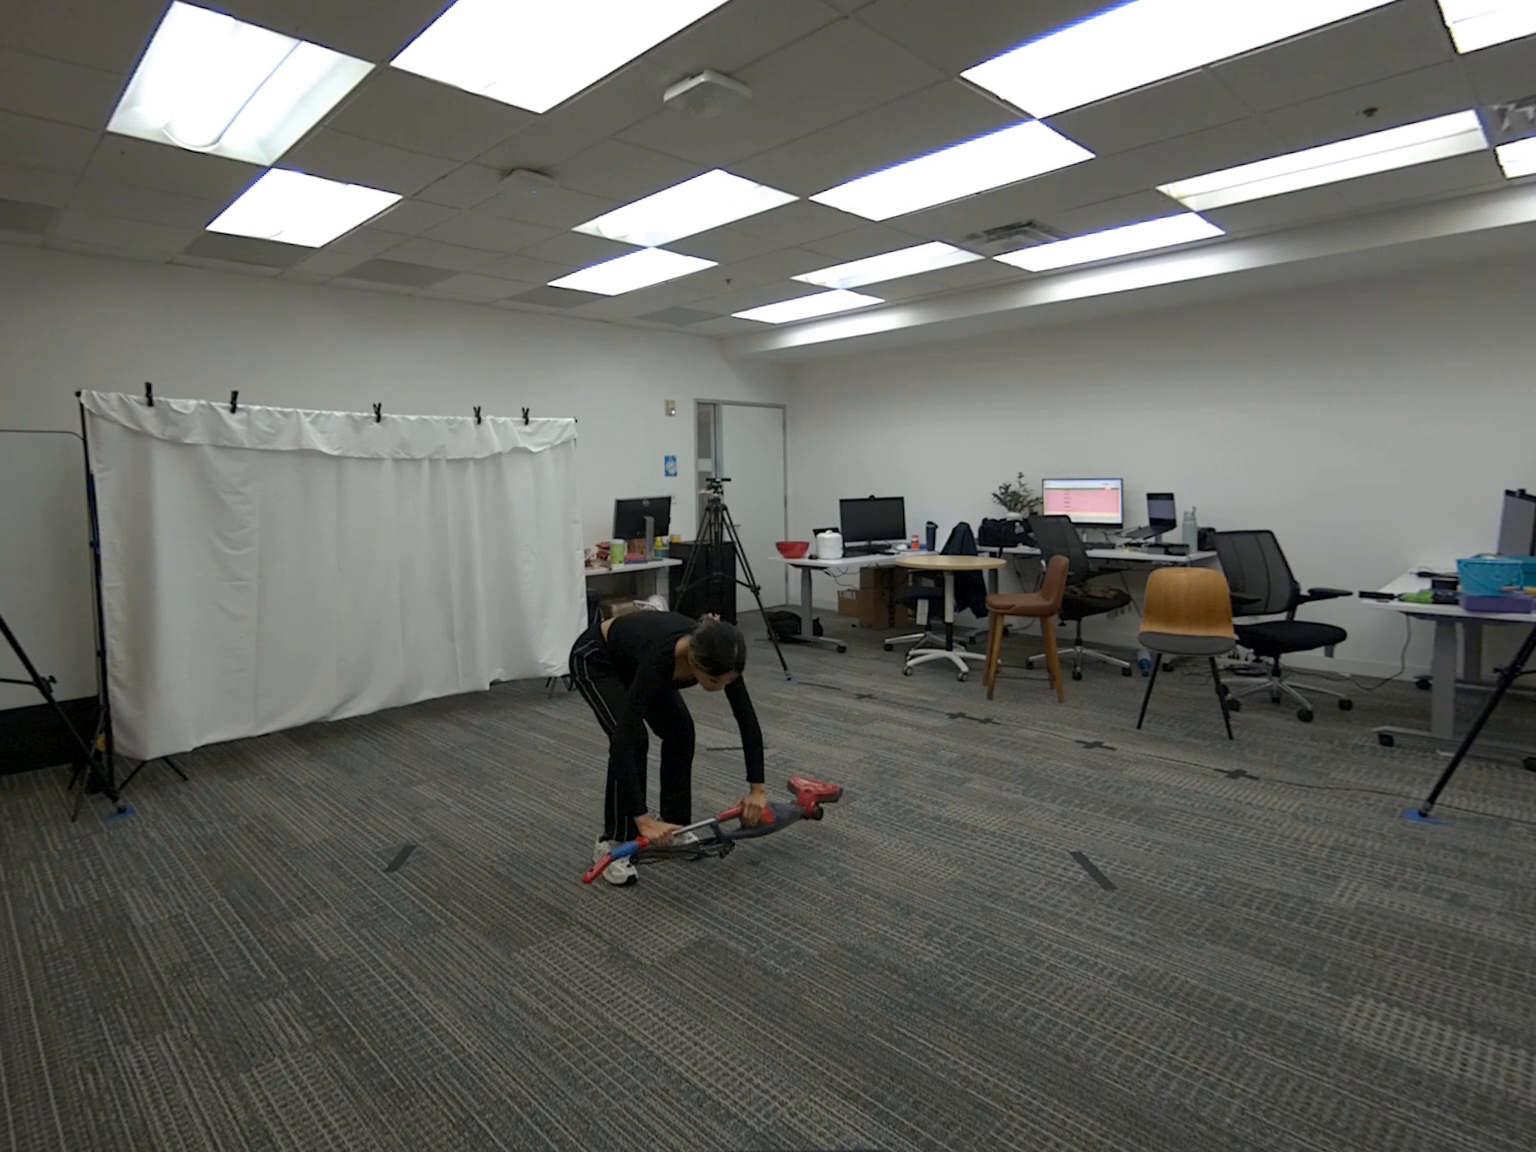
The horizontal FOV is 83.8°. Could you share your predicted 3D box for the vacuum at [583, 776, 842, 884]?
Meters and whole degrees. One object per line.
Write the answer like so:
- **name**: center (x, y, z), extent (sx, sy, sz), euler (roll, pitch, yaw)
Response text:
- **vacuum**: center (-0.180, 0.879, 2.898), extent (0.259, 0.144, 1.021), euler (-3, 1, 43)
